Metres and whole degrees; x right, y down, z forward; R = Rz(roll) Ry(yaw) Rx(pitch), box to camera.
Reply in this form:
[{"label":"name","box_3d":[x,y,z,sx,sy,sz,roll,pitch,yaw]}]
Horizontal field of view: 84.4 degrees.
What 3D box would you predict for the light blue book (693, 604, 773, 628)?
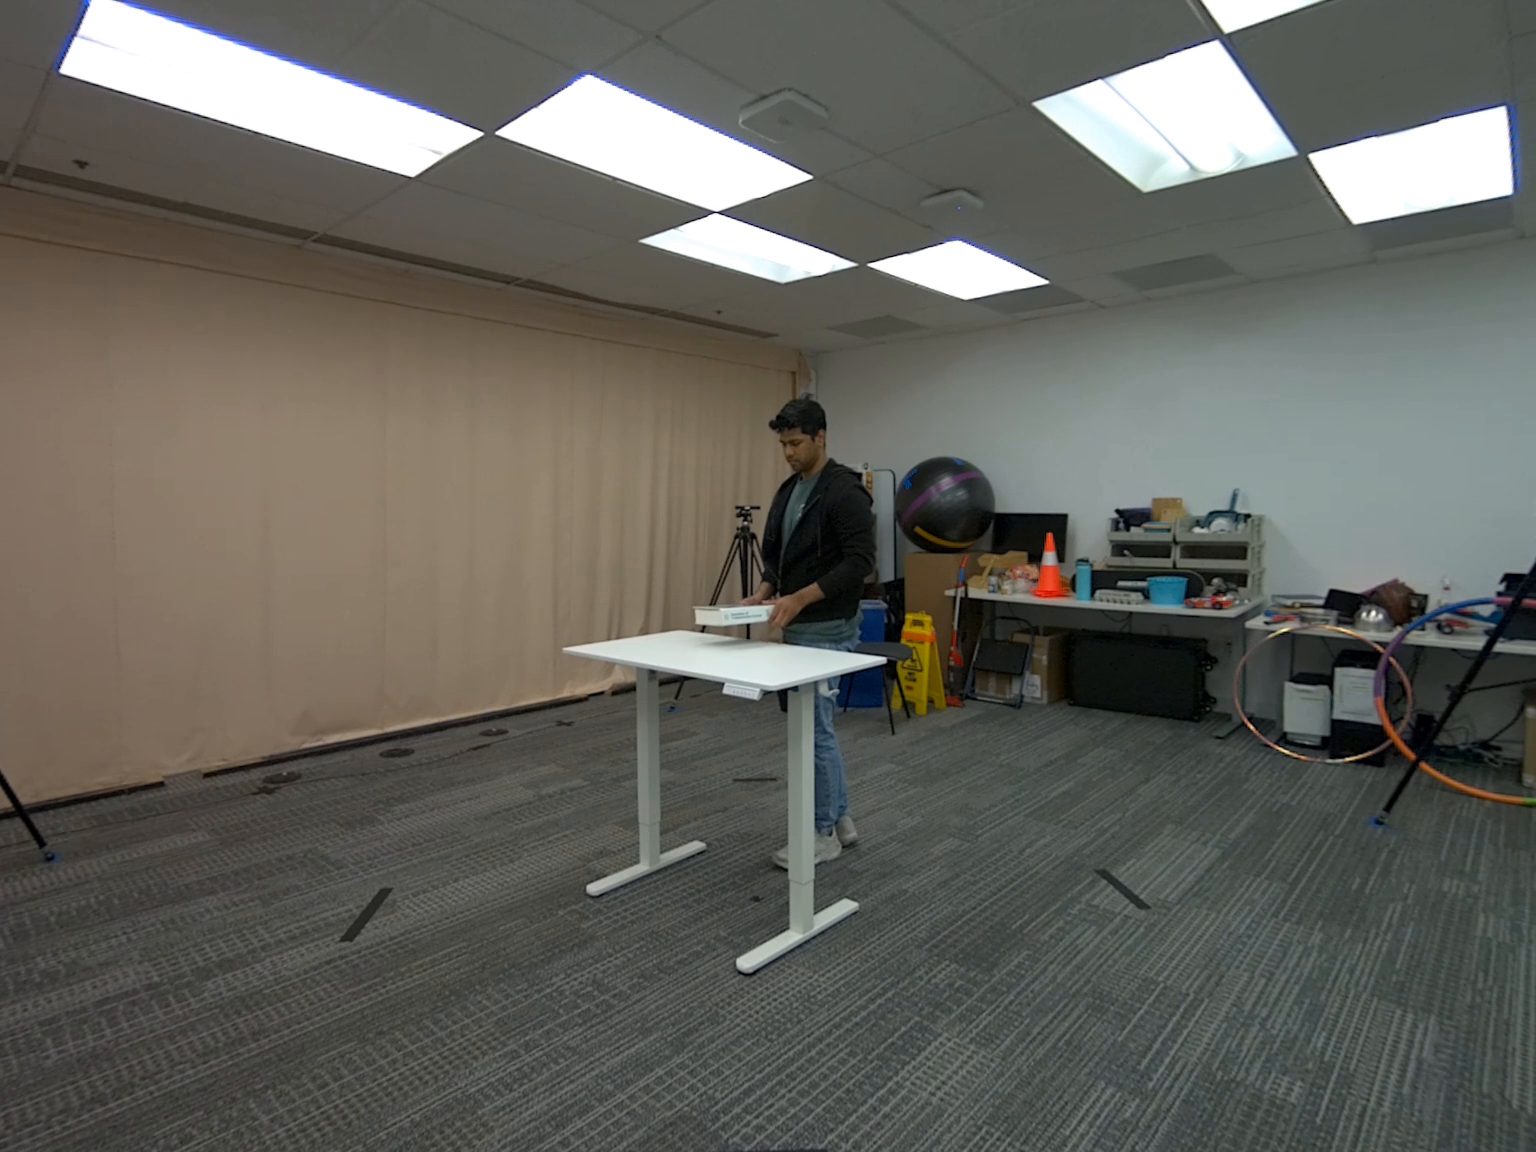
[{"label":"light blue book","box_3d":[-0.117,0.145,3.140,0.253,0.059,0.197,-3,1,-33]}]
